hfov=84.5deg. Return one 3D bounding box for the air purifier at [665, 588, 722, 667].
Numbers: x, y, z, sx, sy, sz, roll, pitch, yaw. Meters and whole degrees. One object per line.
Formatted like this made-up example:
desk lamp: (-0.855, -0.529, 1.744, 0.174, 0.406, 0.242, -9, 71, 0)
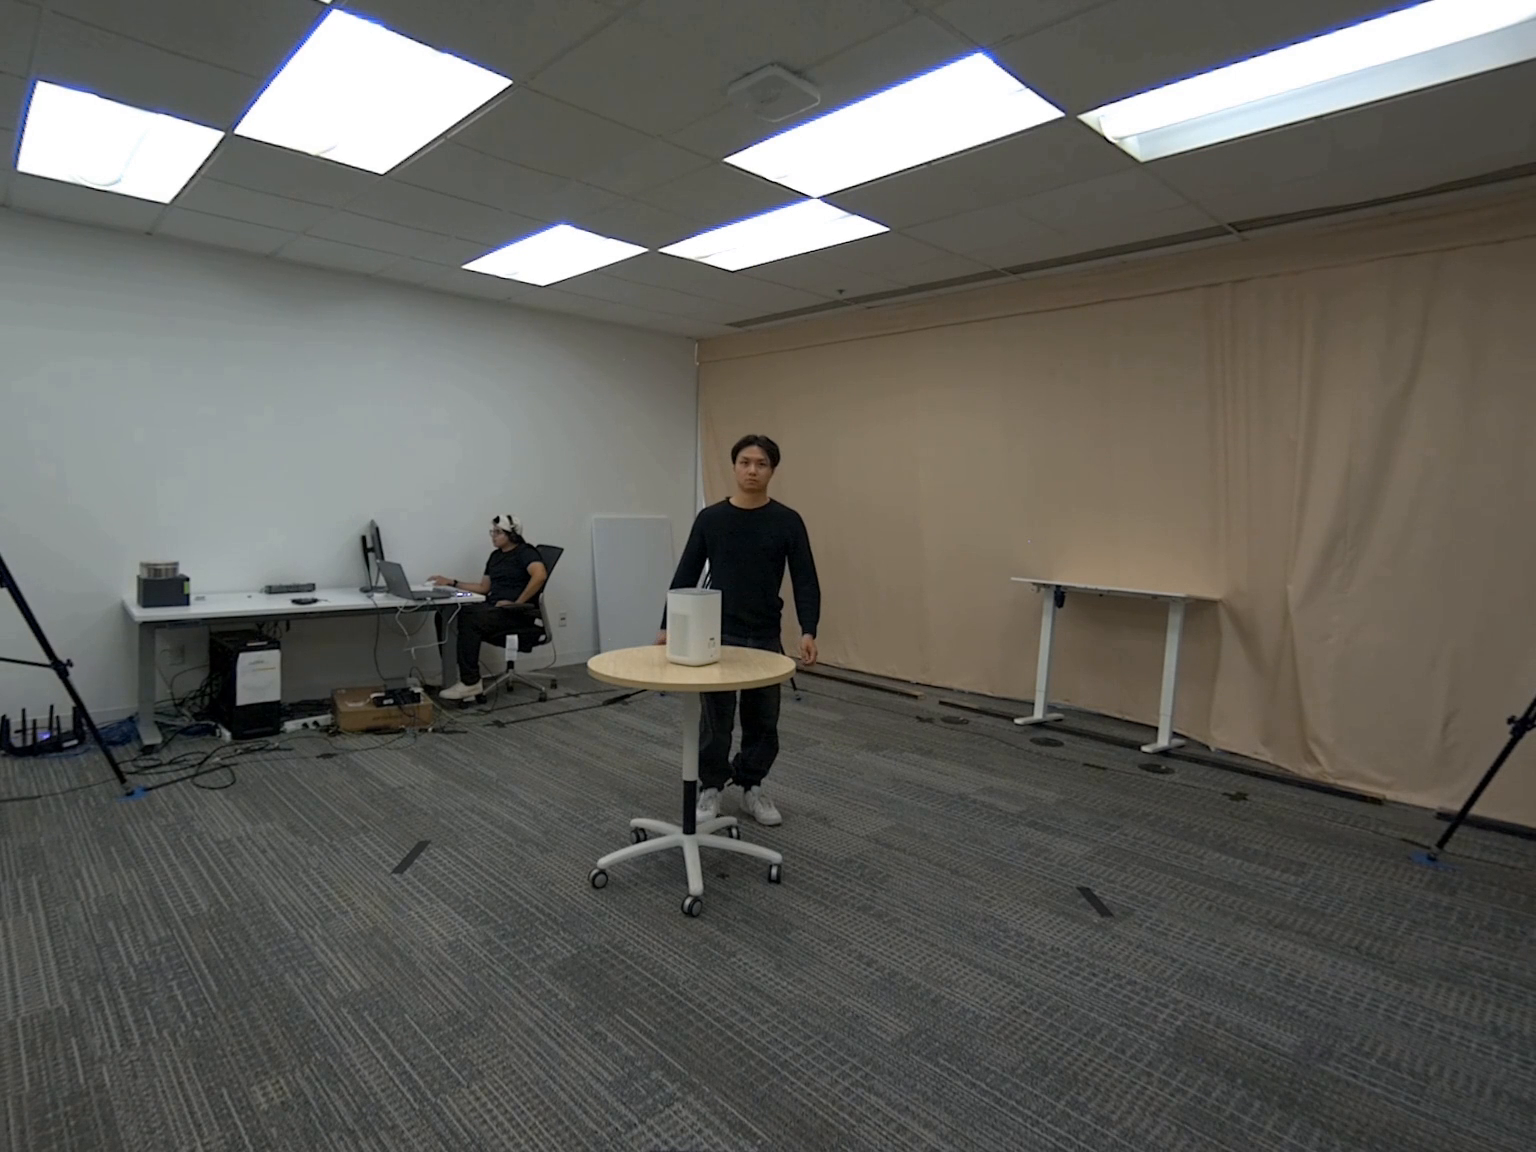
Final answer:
air purifier: (-0.282, 0.185, 3.095, 0.176, 0.265, 0.167, 4, 4, 35)
